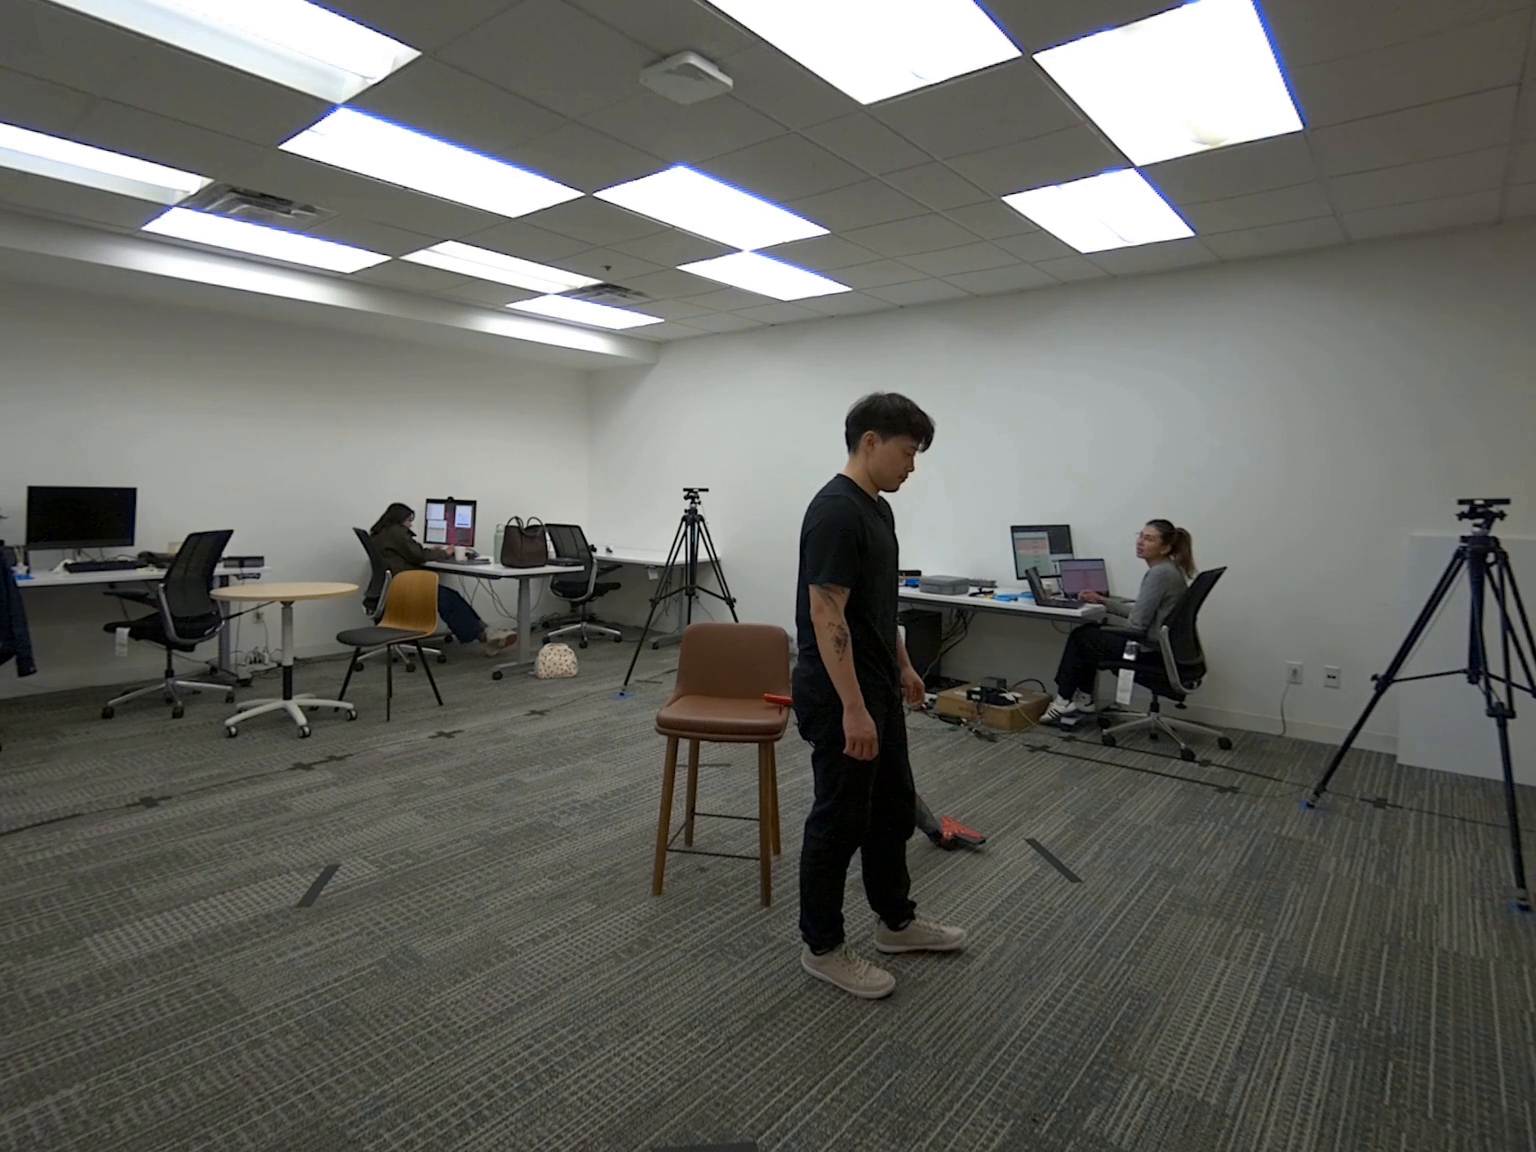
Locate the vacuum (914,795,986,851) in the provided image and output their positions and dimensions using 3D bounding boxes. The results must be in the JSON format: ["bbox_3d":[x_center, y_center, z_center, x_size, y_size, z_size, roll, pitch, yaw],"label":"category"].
[{"bbox_3d":[0.367,0.735,3.218,1.019,0.144,0.259,39,-12,-22],"label":"vacuum"}]
